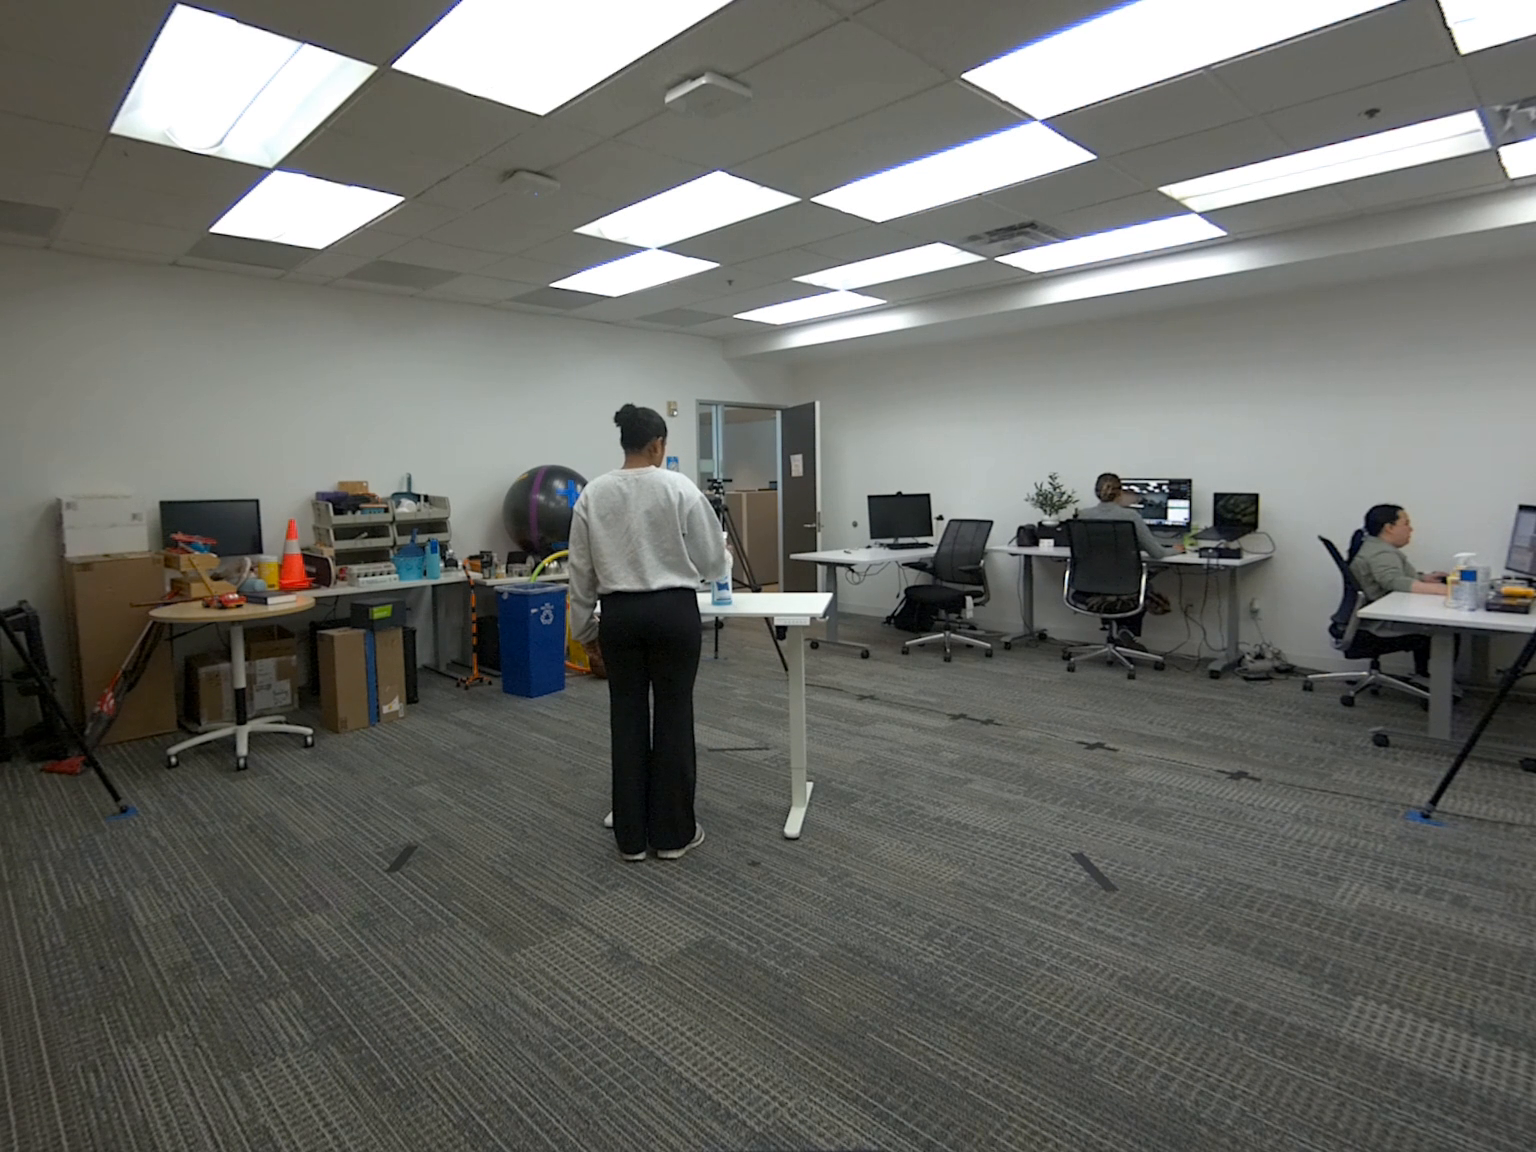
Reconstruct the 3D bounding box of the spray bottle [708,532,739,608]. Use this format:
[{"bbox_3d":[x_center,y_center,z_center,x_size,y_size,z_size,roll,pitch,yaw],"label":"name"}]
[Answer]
[{"bbox_3d":[-0.188,-0.029,3.533,0.088,0.296,0.089,-3,4,-36],"label":"spray bottle"}]
